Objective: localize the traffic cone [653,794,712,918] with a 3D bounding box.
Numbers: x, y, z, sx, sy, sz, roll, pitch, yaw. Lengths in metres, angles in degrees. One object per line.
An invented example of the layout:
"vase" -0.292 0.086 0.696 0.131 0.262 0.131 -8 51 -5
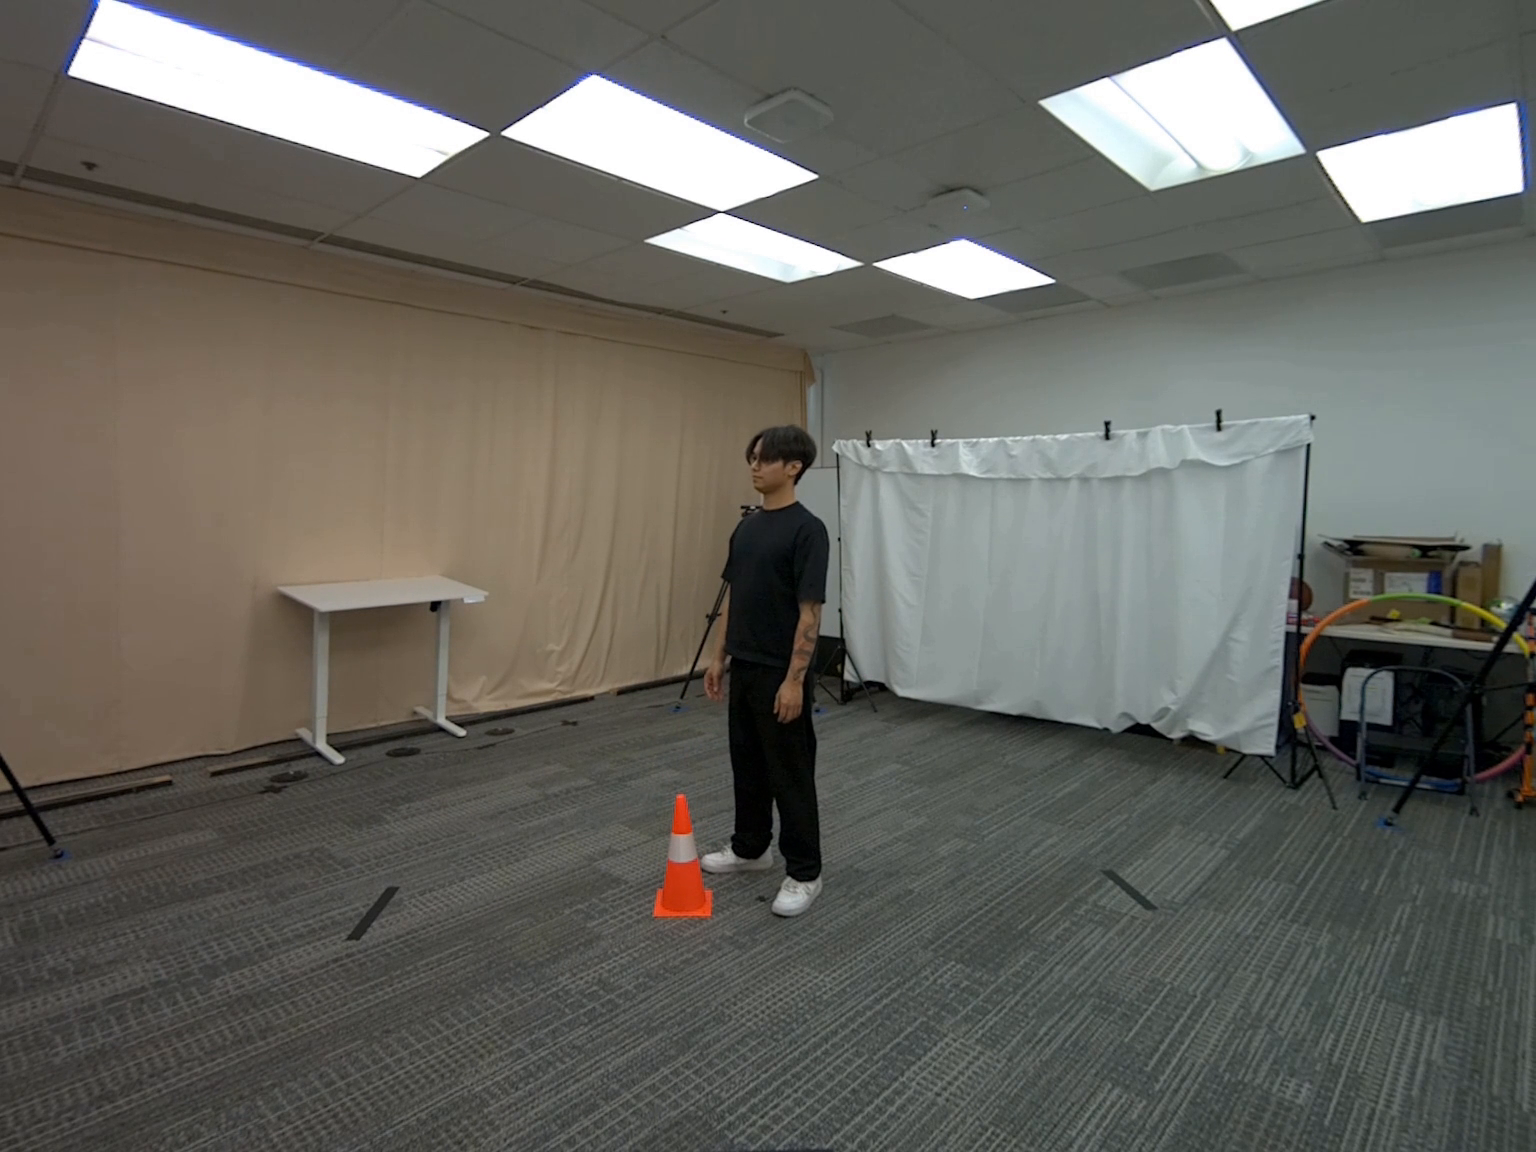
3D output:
"traffic cone" -0.300 0.966 2.935 0.203 0.382 0.205 -2 5 0
